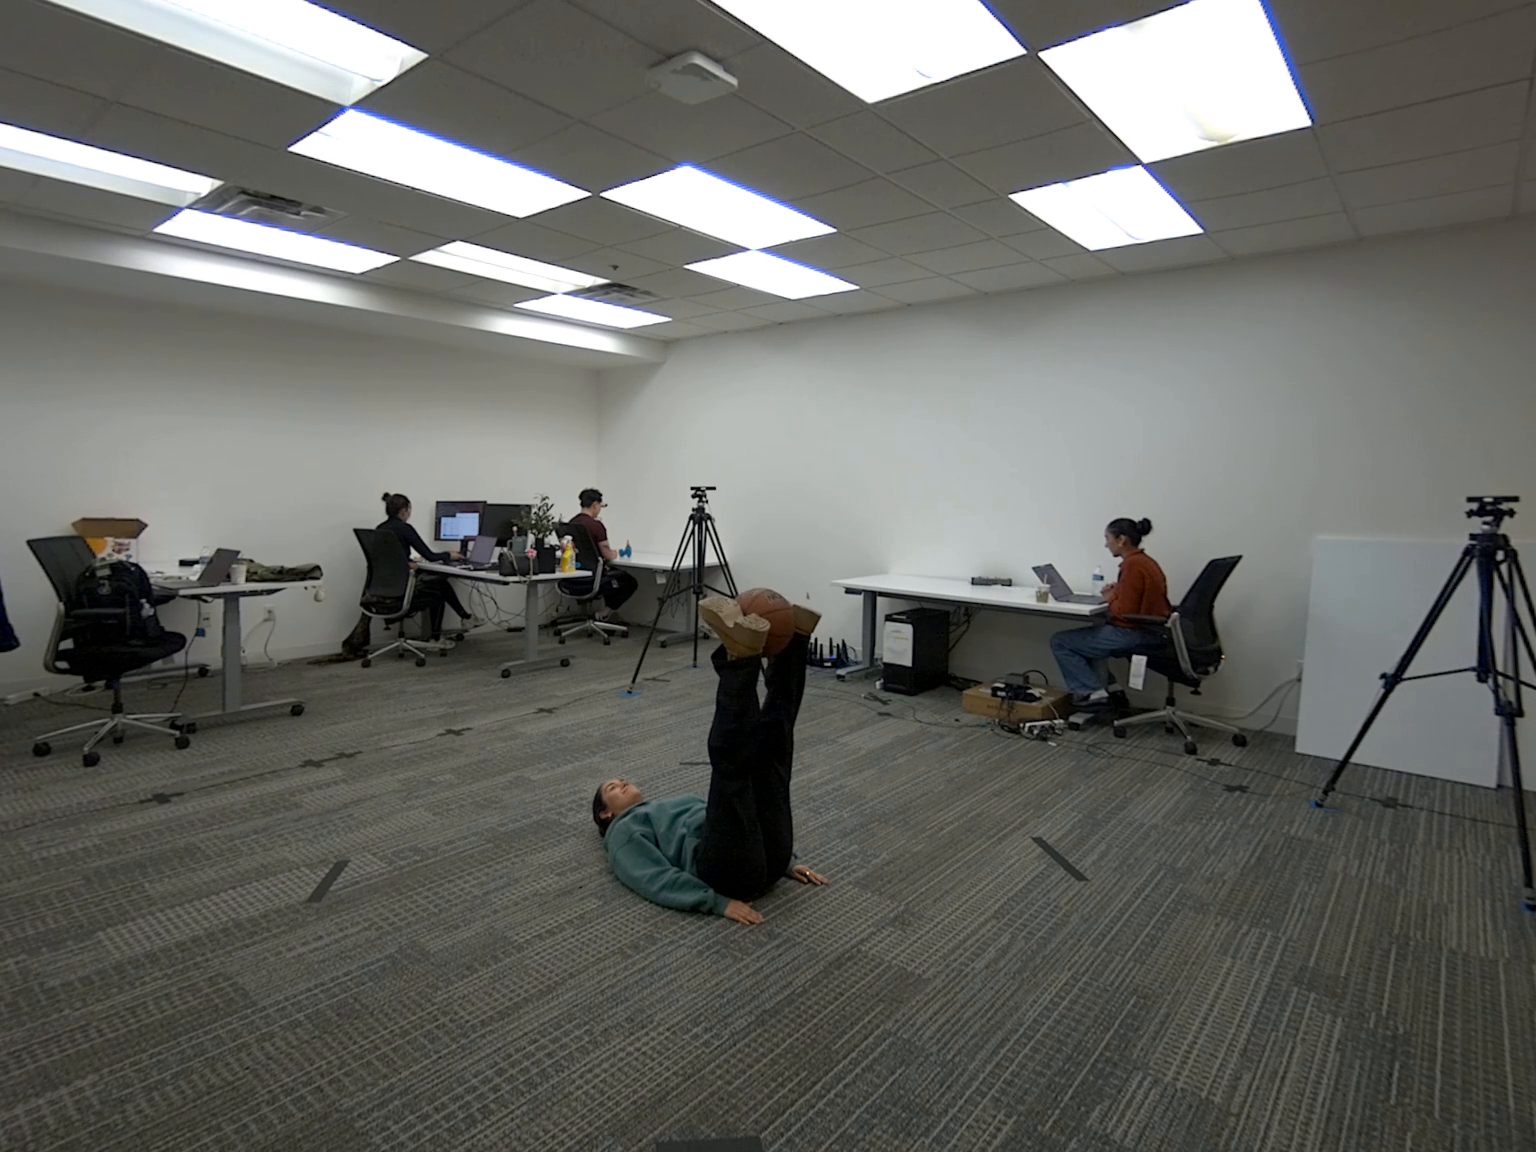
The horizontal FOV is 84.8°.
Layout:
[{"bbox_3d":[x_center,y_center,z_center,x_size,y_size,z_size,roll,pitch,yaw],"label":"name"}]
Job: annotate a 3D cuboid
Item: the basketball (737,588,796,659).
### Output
[{"bbox_3d":[-0.031,0.155,2.882,0.236,0.235,0.237,0,4,-2],"label":"basketball"}]
